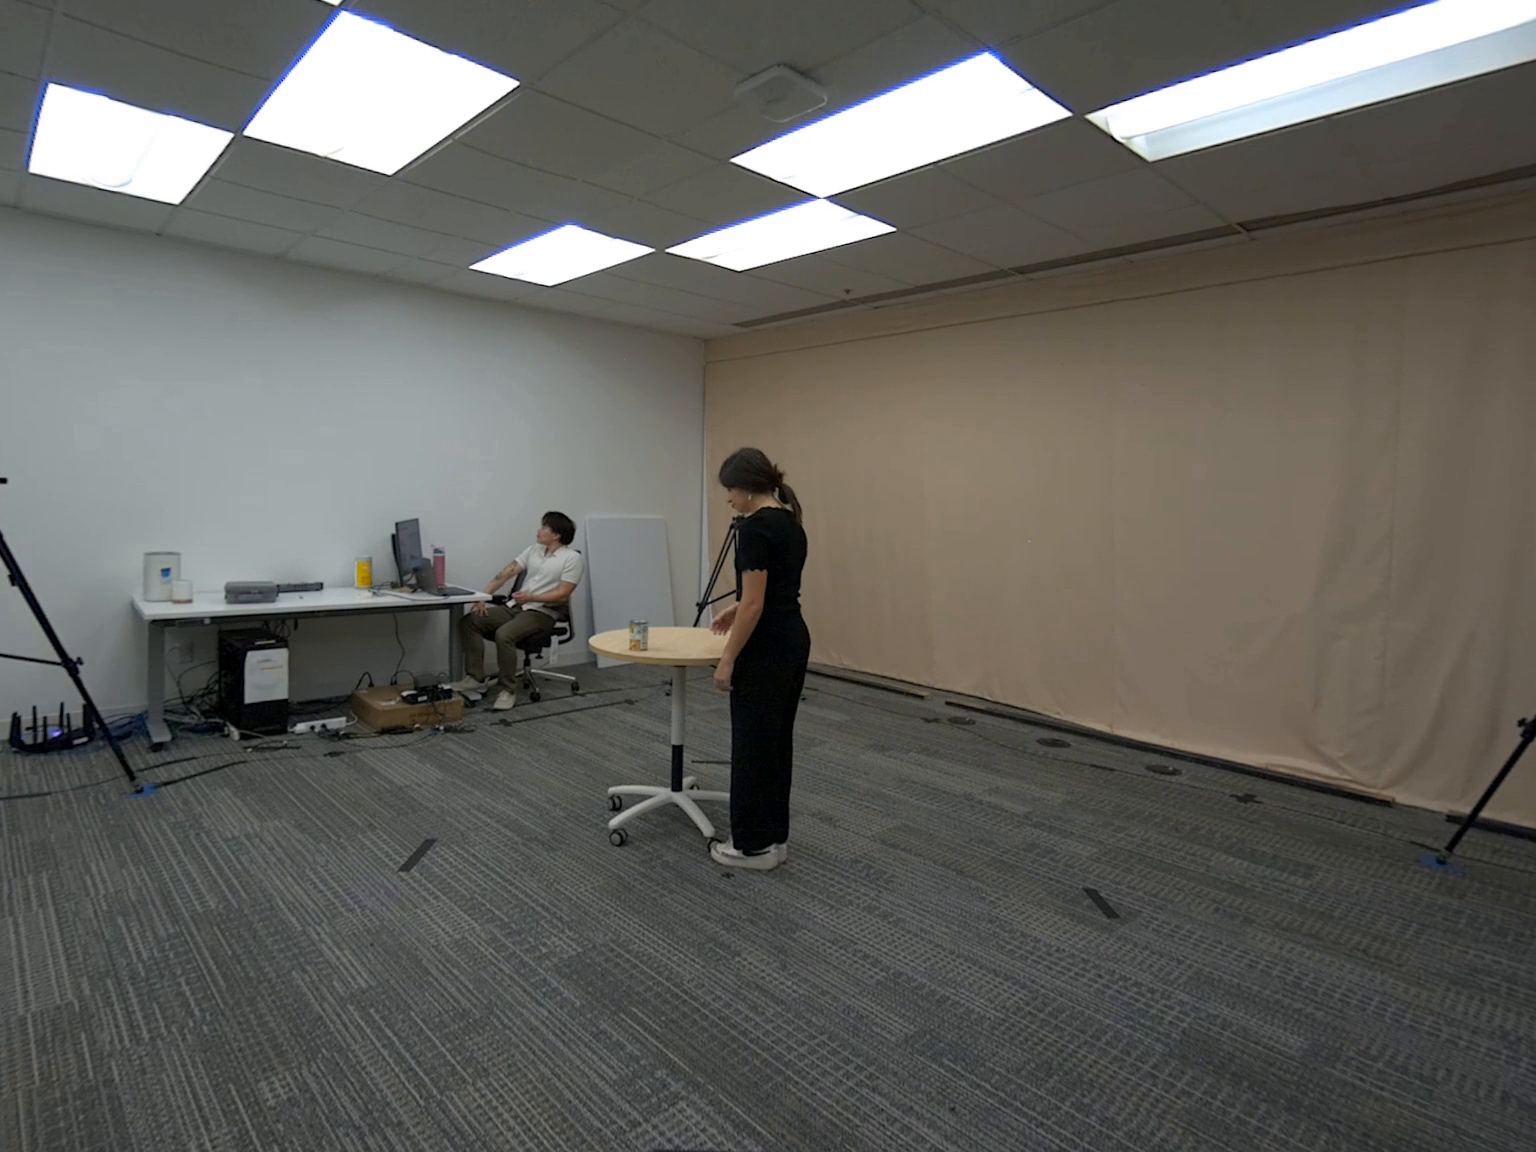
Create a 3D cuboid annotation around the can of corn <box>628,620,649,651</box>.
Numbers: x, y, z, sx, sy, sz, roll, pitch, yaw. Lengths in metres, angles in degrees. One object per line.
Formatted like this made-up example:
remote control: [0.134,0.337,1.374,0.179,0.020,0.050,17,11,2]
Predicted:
can of corn: [-0.513,0.236,3.334,0.074,0.110,0.074,4,6,-2]
